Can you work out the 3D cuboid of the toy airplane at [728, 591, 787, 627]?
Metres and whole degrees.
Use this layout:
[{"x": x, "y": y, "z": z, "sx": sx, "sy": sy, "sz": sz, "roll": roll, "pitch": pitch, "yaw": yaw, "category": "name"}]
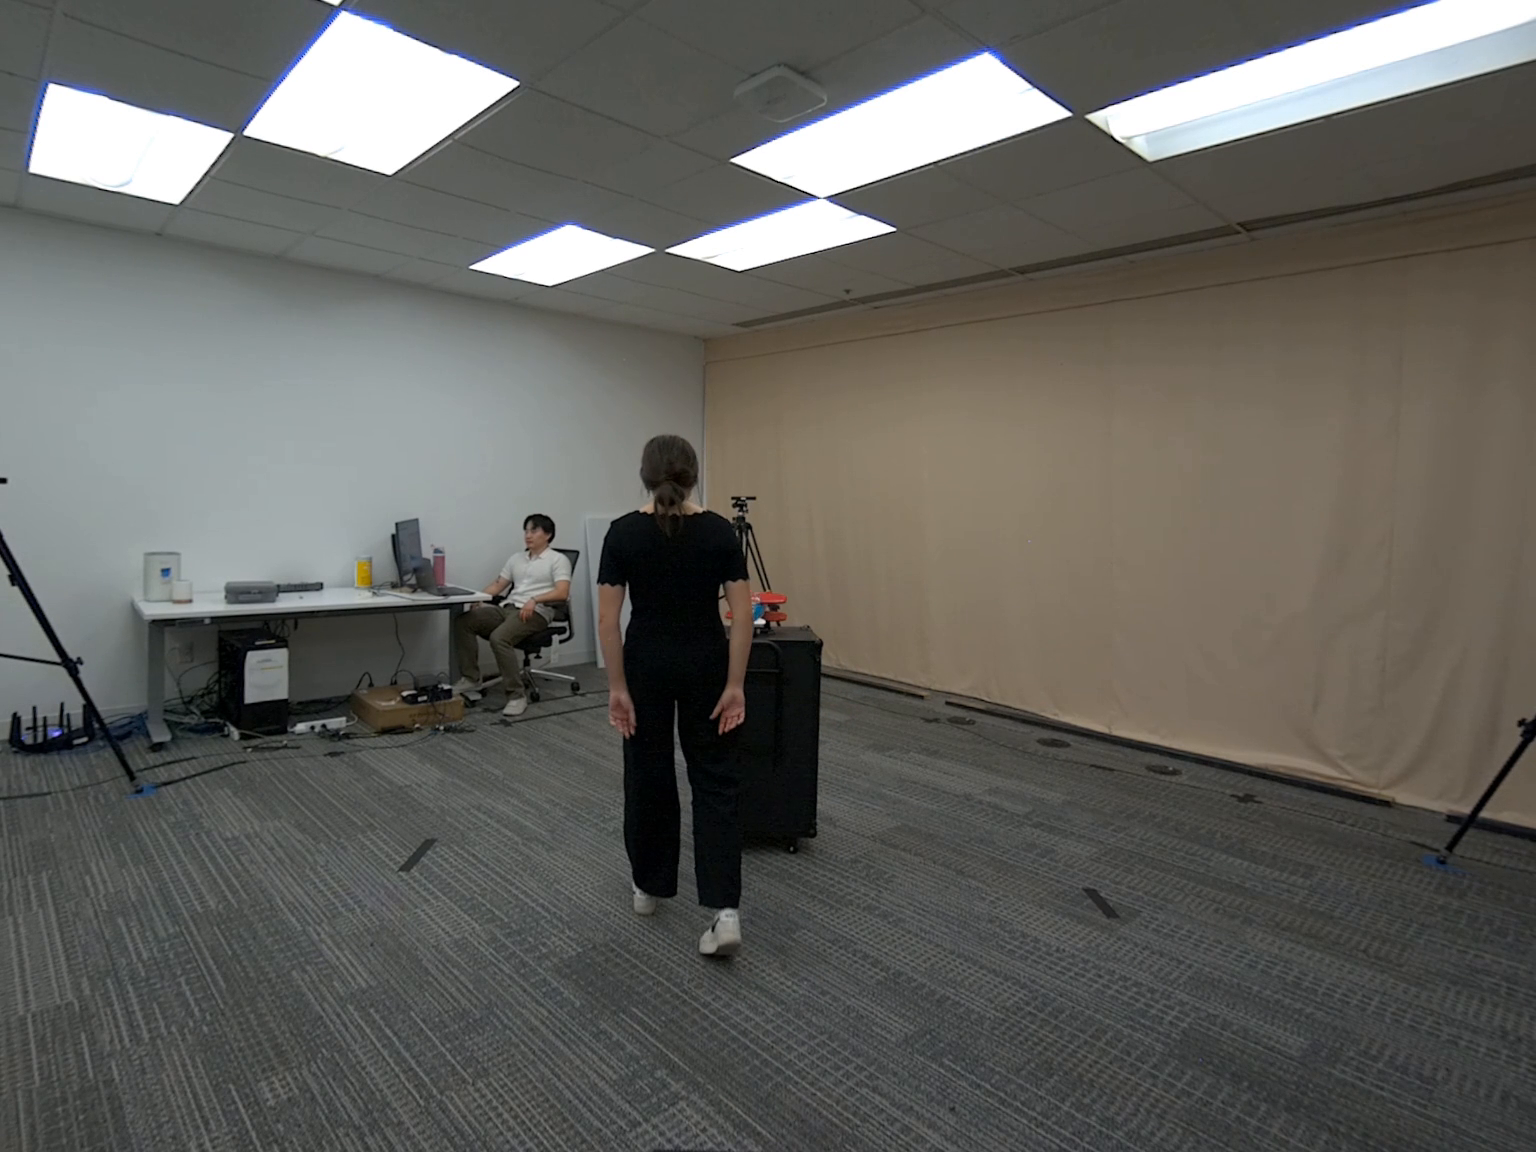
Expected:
[{"x": -0.043, "y": 0.153, "z": 3.417, "sx": 0.247, "sy": 0.156, "sz": 0.264, "roll": -1, "pitch": 5, "yaw": -20, "category": "toy airplane"}]
